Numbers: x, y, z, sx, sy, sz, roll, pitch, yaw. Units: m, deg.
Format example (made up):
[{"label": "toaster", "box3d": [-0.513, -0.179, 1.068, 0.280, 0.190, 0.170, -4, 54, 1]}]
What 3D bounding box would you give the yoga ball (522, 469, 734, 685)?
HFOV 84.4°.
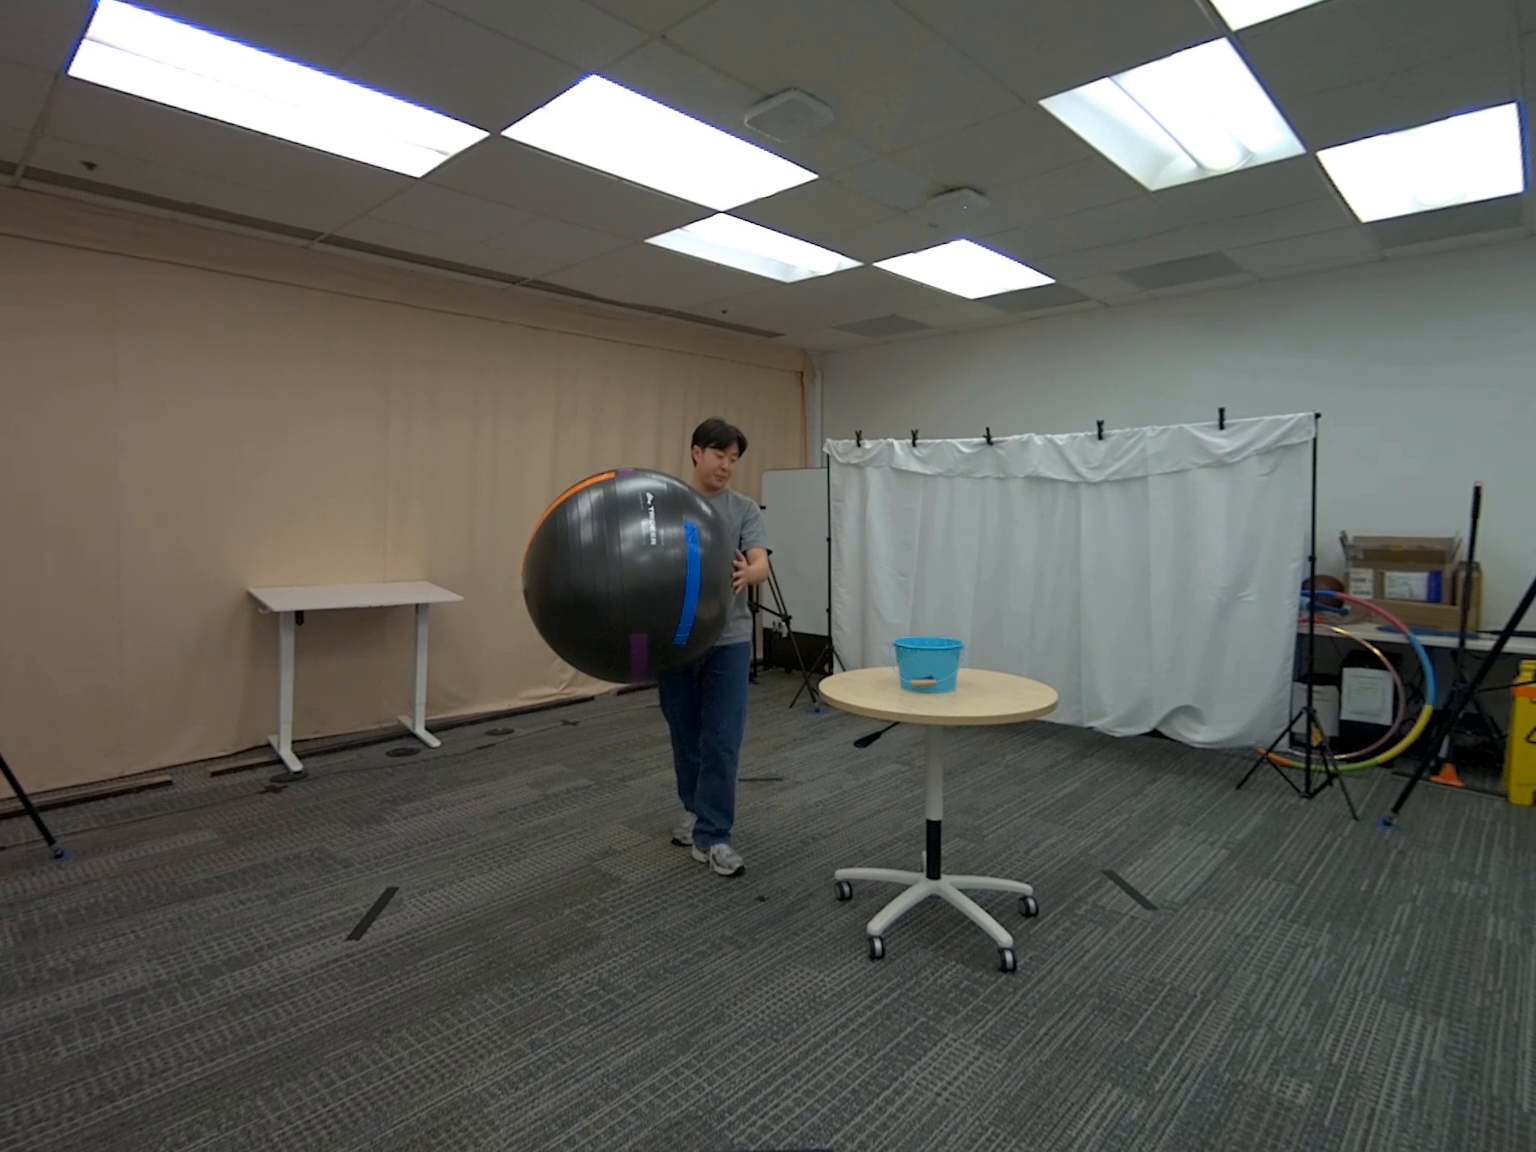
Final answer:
[{"label": "yoga ball", "box3d": [-0.490, 0.001, 2.992, 0.757, 0.756, 0.760, 0, 4, -2]}]
